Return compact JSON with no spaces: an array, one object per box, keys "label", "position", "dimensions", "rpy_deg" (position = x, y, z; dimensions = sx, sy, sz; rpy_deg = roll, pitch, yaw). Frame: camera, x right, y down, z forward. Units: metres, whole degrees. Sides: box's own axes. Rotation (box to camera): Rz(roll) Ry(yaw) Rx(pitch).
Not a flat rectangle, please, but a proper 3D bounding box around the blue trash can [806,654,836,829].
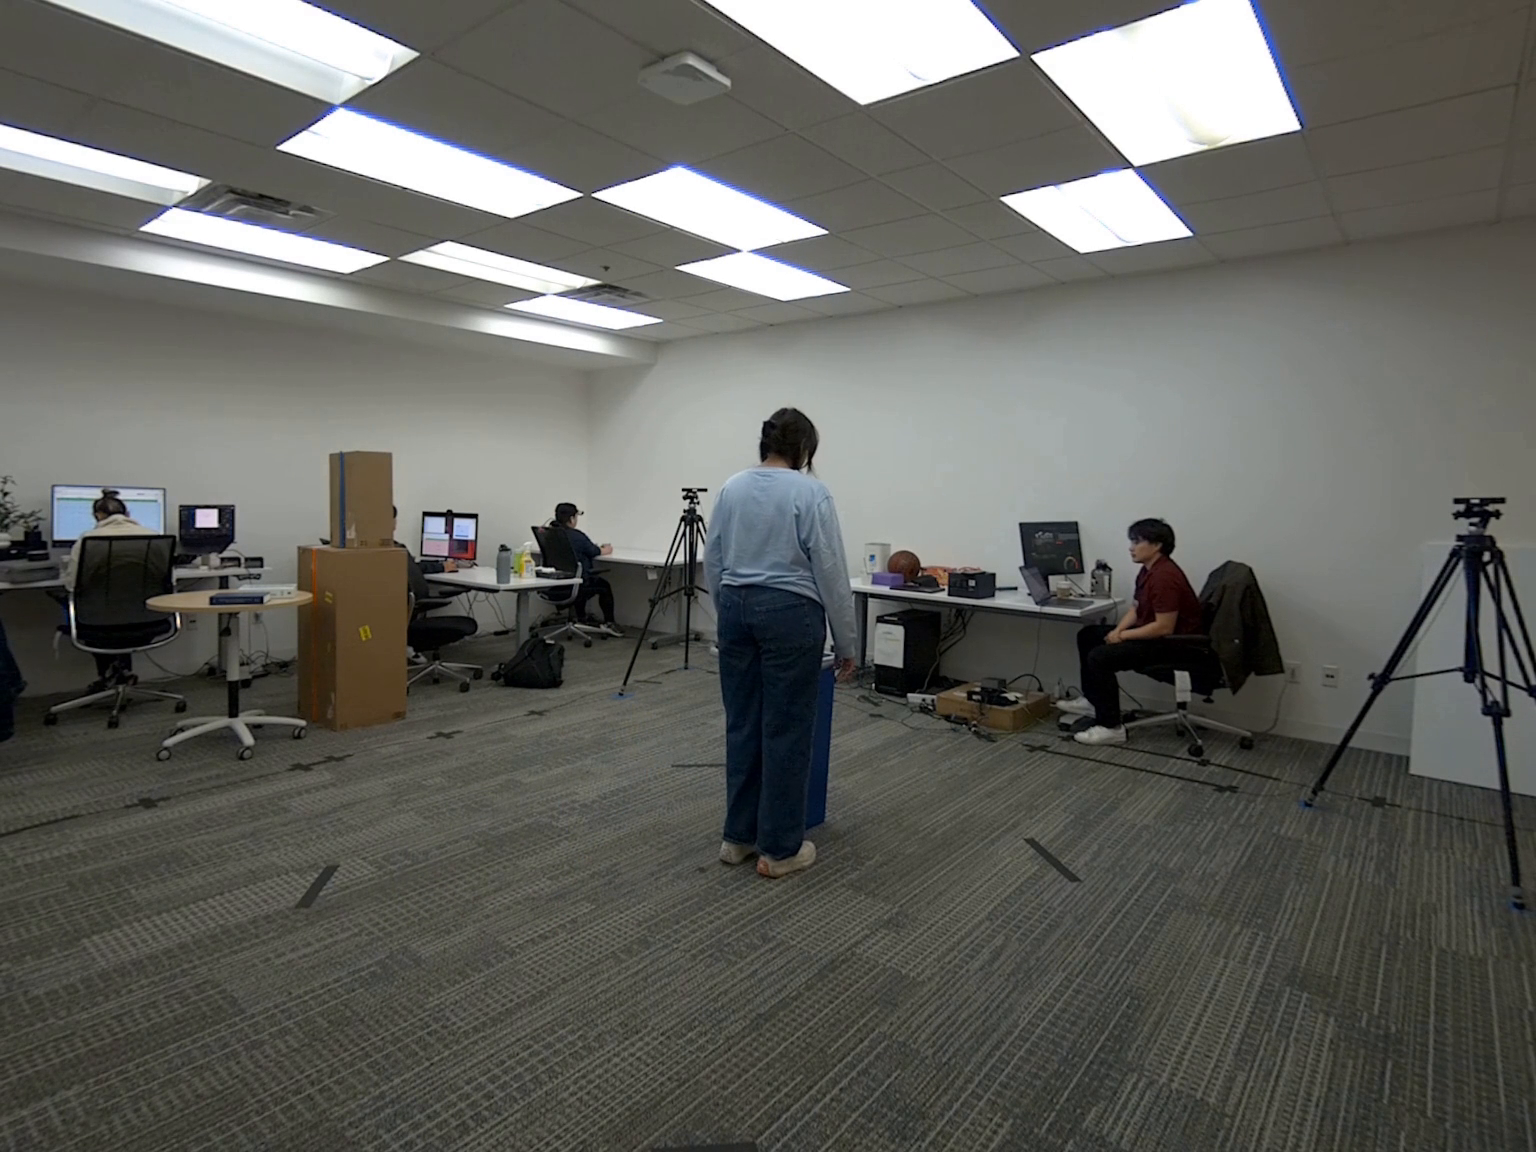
[{"label":"blue trash can","position":[0.042,0.670,3.565],"dimensions":[0.387,0.711,0.367],"rpy_deg":[4,4,42]}]
